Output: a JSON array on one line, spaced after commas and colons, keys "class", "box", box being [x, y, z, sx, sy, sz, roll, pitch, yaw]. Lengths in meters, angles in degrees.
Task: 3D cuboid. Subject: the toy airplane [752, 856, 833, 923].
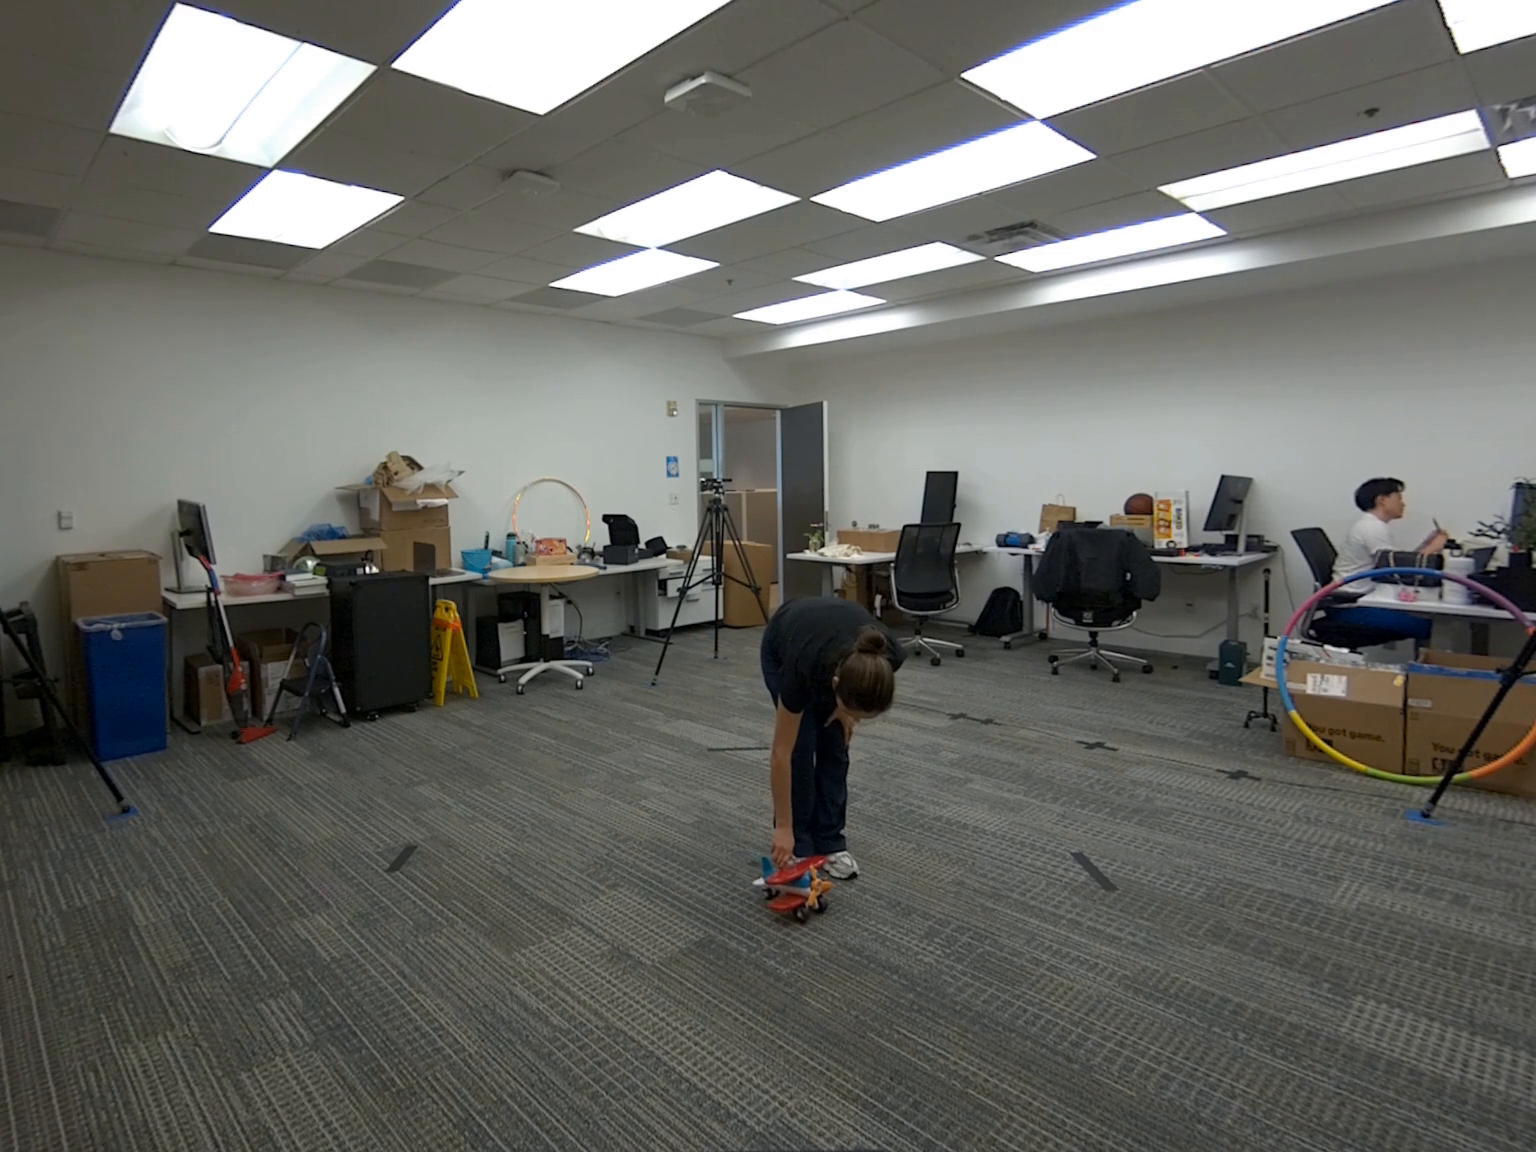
[{"class": "toy airplane", "box": [0.064, 1.011, 2.783, 0.264, 0.155, 0.248, 3, 7, 18]}]
